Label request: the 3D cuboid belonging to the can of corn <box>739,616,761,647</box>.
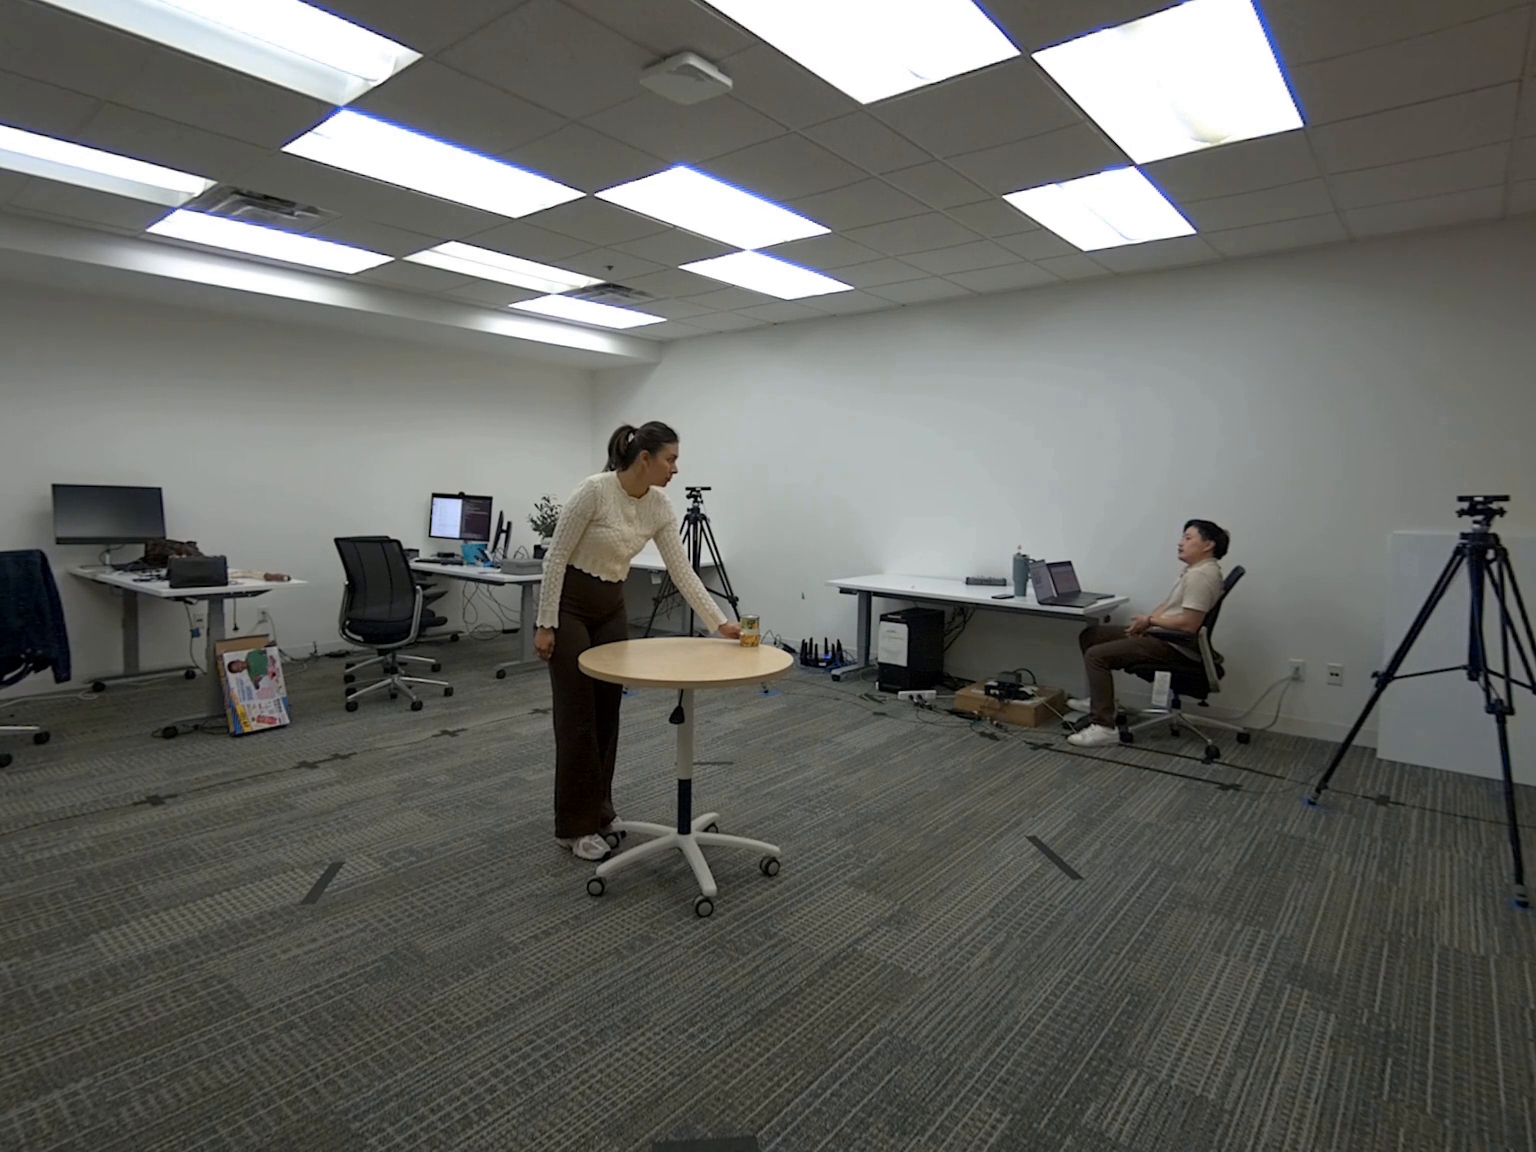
[{"bbox_3d":[-0.078,0.210,3.280,0.074,0.110,0.074,1,4,-2],"label":"can of corn"}]
